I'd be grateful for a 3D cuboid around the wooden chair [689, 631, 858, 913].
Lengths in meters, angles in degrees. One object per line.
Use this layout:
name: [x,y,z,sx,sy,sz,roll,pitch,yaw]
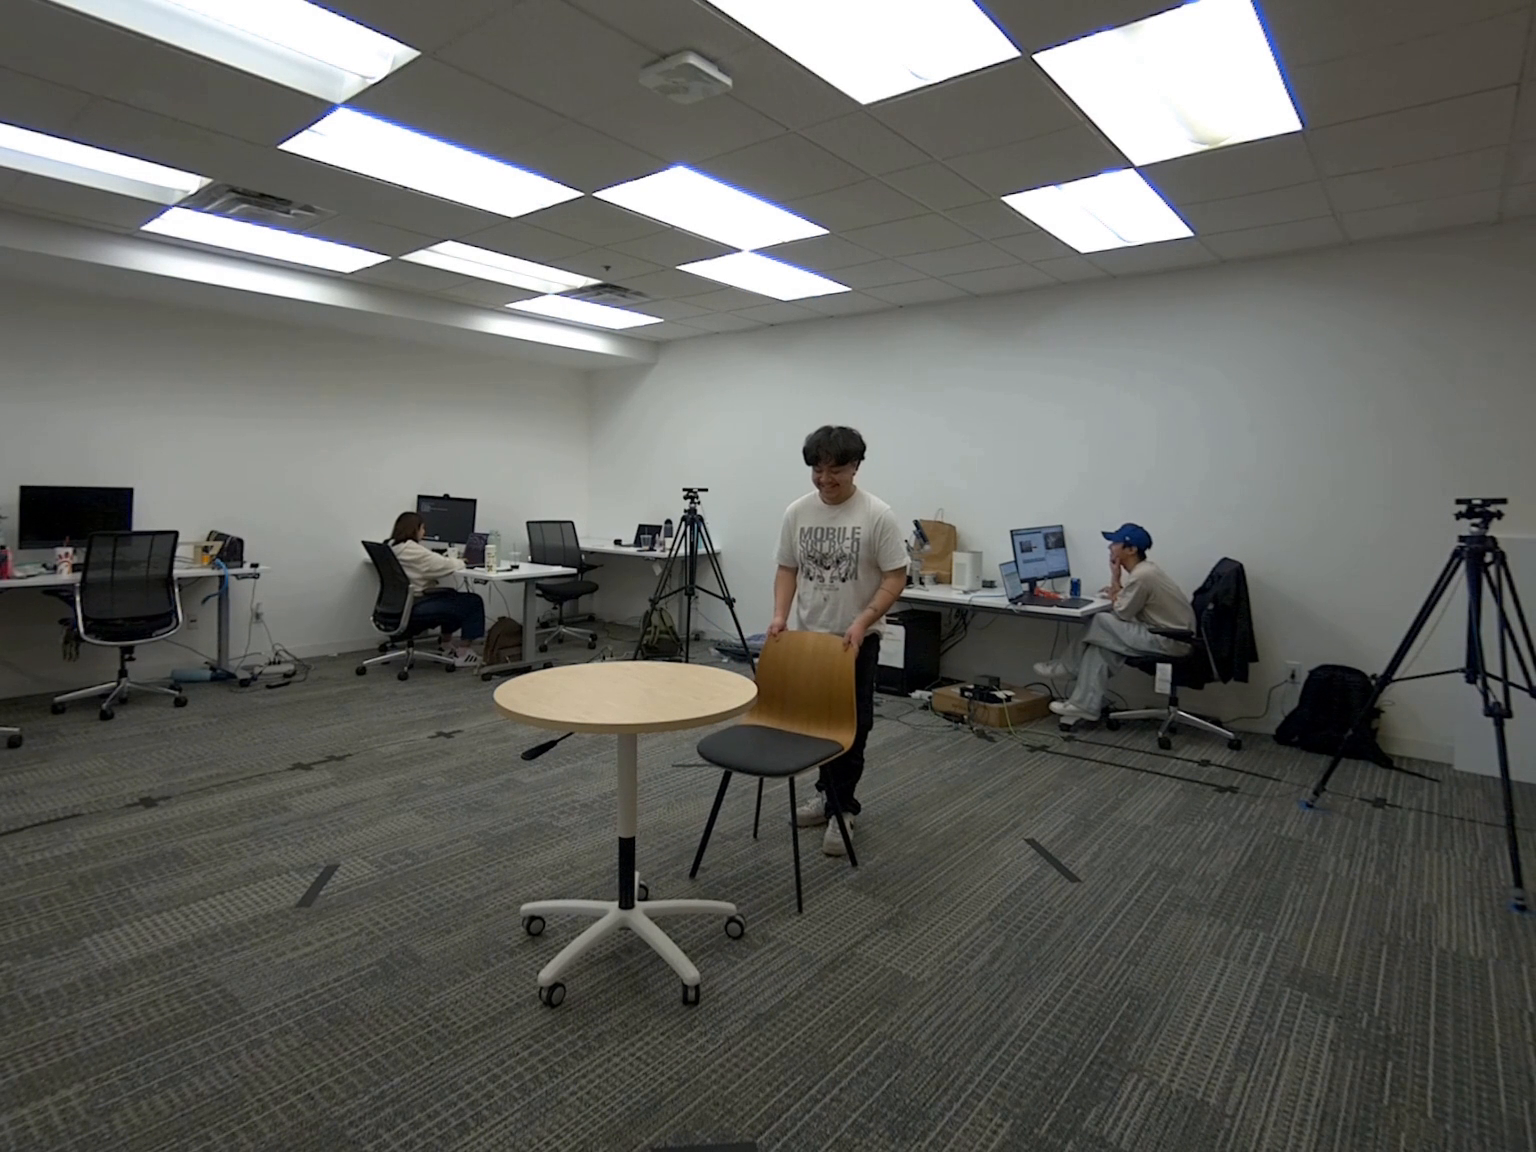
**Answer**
wooden chair: [0.023,0.649,3.068,0.493,0.878,0.507,4,-1,32]
